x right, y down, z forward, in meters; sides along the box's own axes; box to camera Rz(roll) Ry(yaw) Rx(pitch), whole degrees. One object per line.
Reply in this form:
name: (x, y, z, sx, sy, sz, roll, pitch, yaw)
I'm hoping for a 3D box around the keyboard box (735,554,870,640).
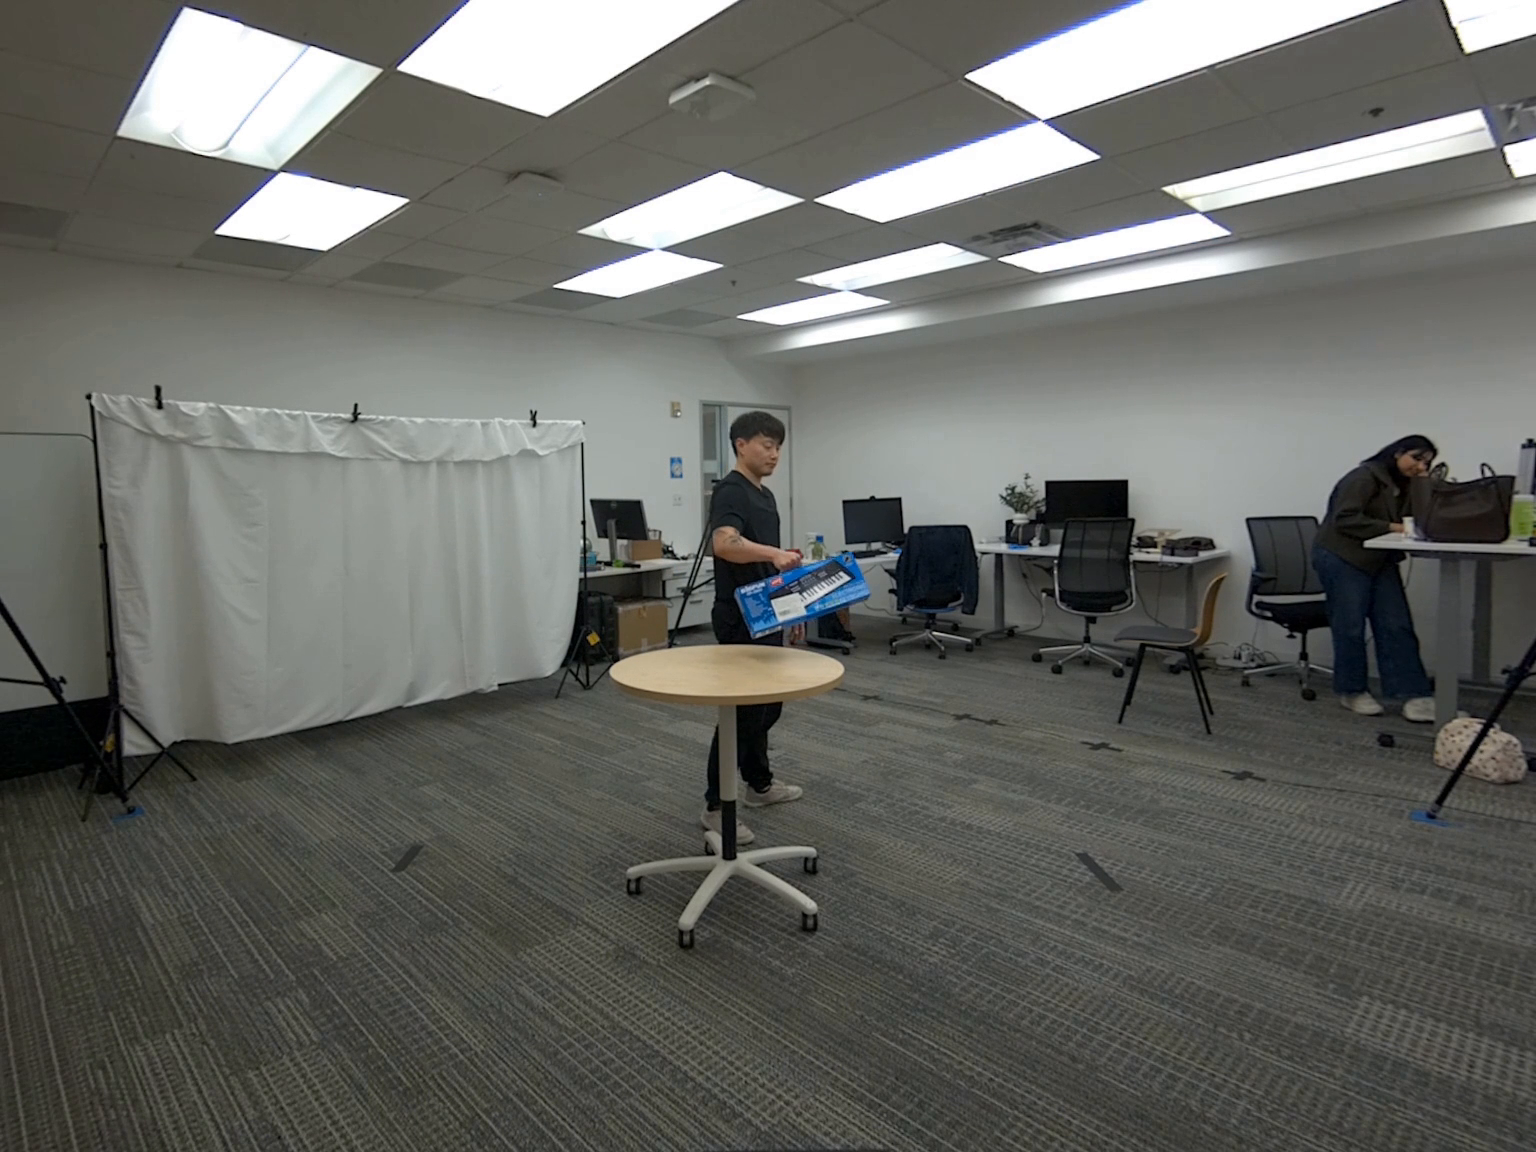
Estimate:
keyboard box: (0.123, 0.073, 2.932, 0.433, 0.180, 0.058, -18, -23, -13)
